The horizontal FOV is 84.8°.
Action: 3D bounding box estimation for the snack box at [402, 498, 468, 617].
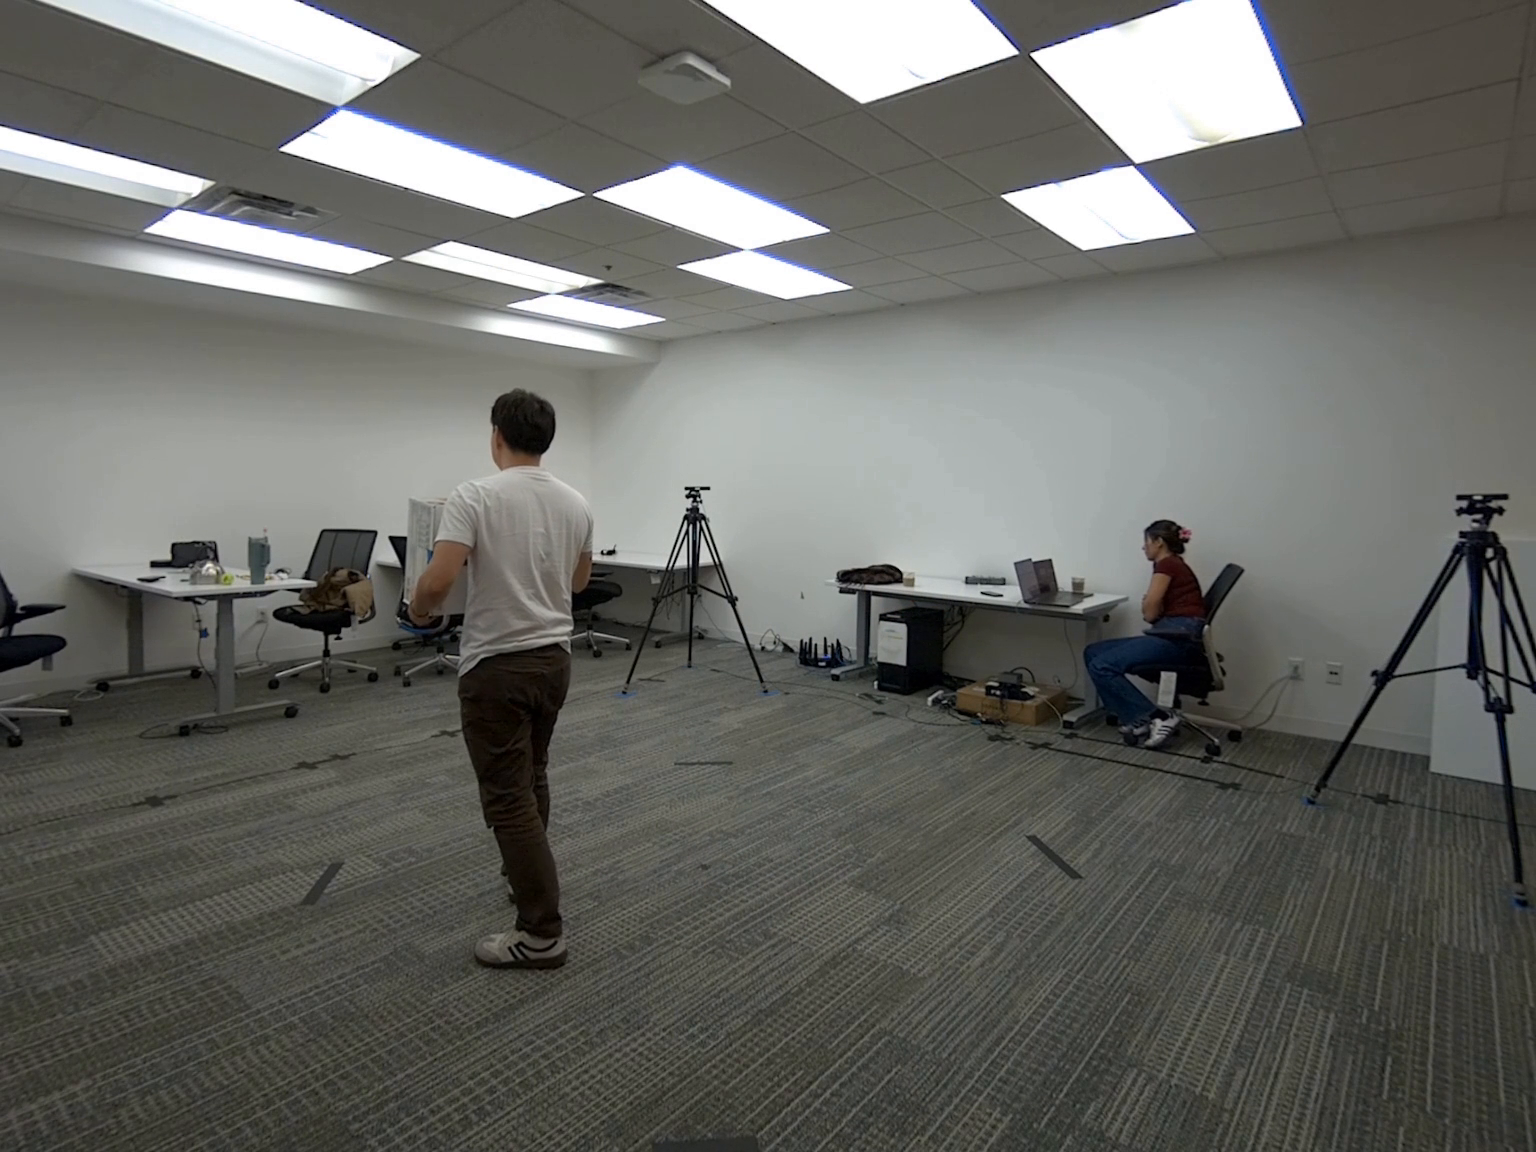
[{"bbox_3d":[-0.941,-0.079,2.756,0.393,0.338,0.213,-2,12,-43],"label":"snack box"}]
